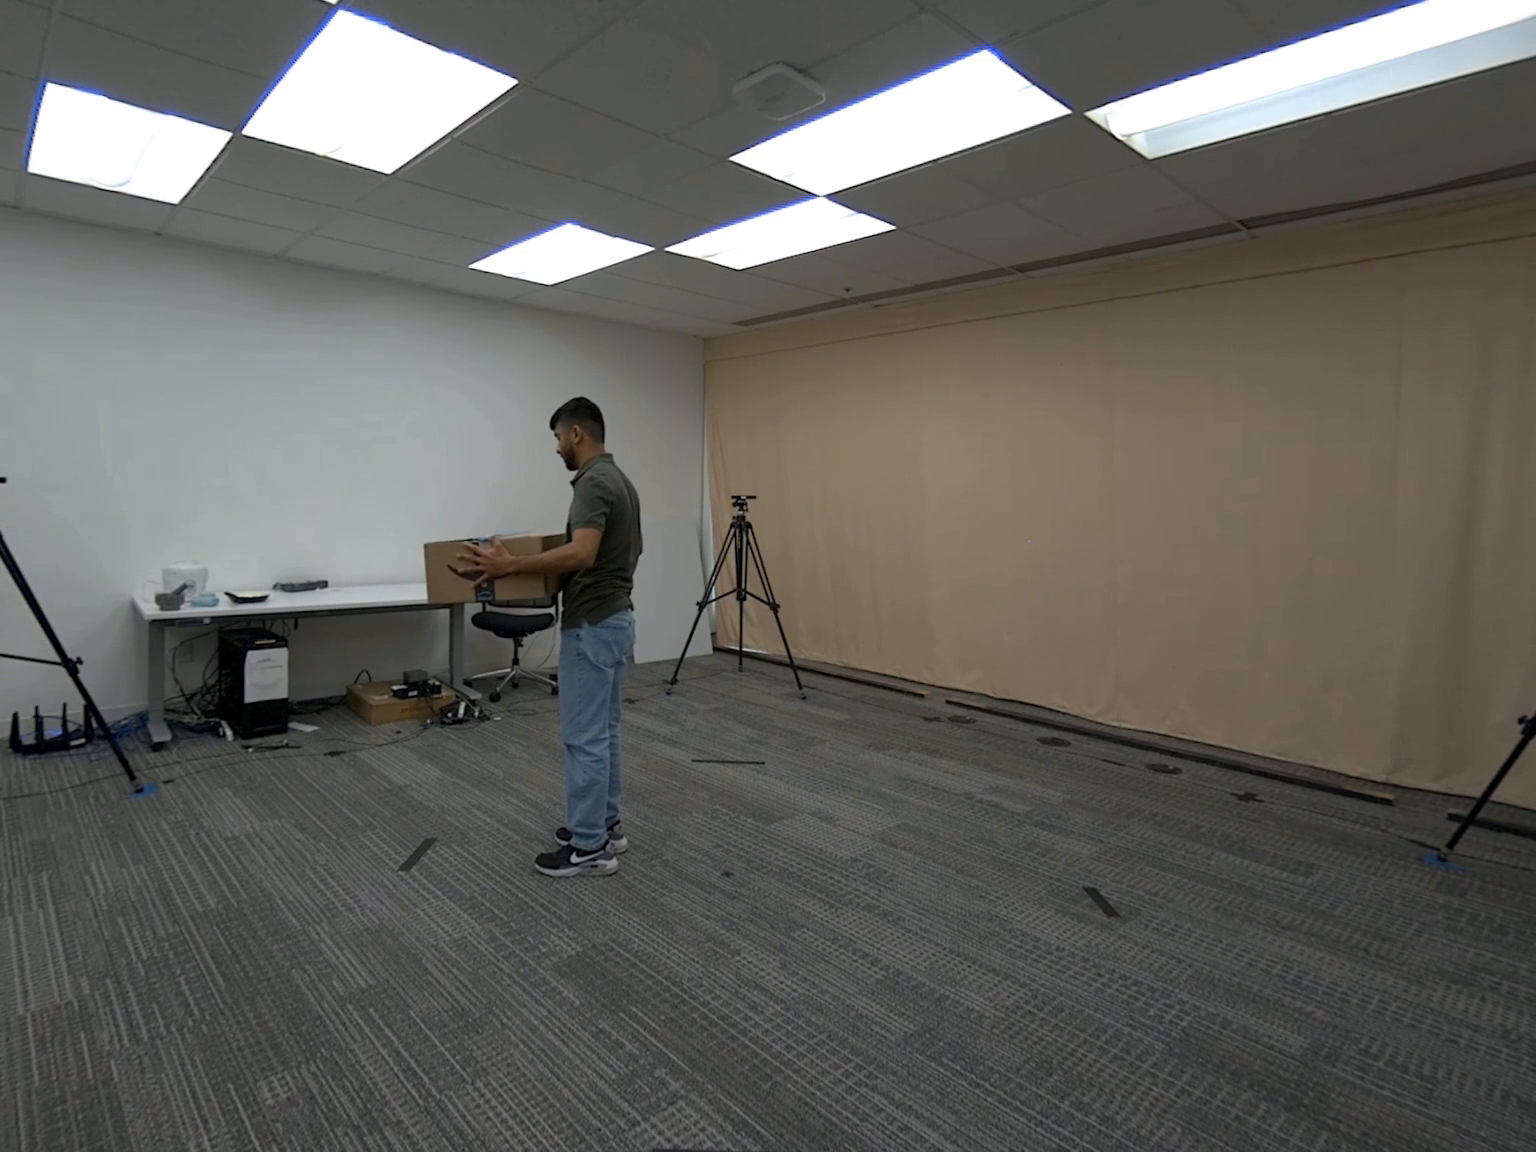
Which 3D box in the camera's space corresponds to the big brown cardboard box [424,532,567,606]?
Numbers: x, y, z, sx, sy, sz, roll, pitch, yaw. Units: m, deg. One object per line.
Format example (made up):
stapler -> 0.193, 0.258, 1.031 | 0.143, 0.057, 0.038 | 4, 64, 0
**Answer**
big brown cardboard box -> -0.982, -0.050, 3.181 | 0.418, 0.232, 0.590 | -2, 5, 1
